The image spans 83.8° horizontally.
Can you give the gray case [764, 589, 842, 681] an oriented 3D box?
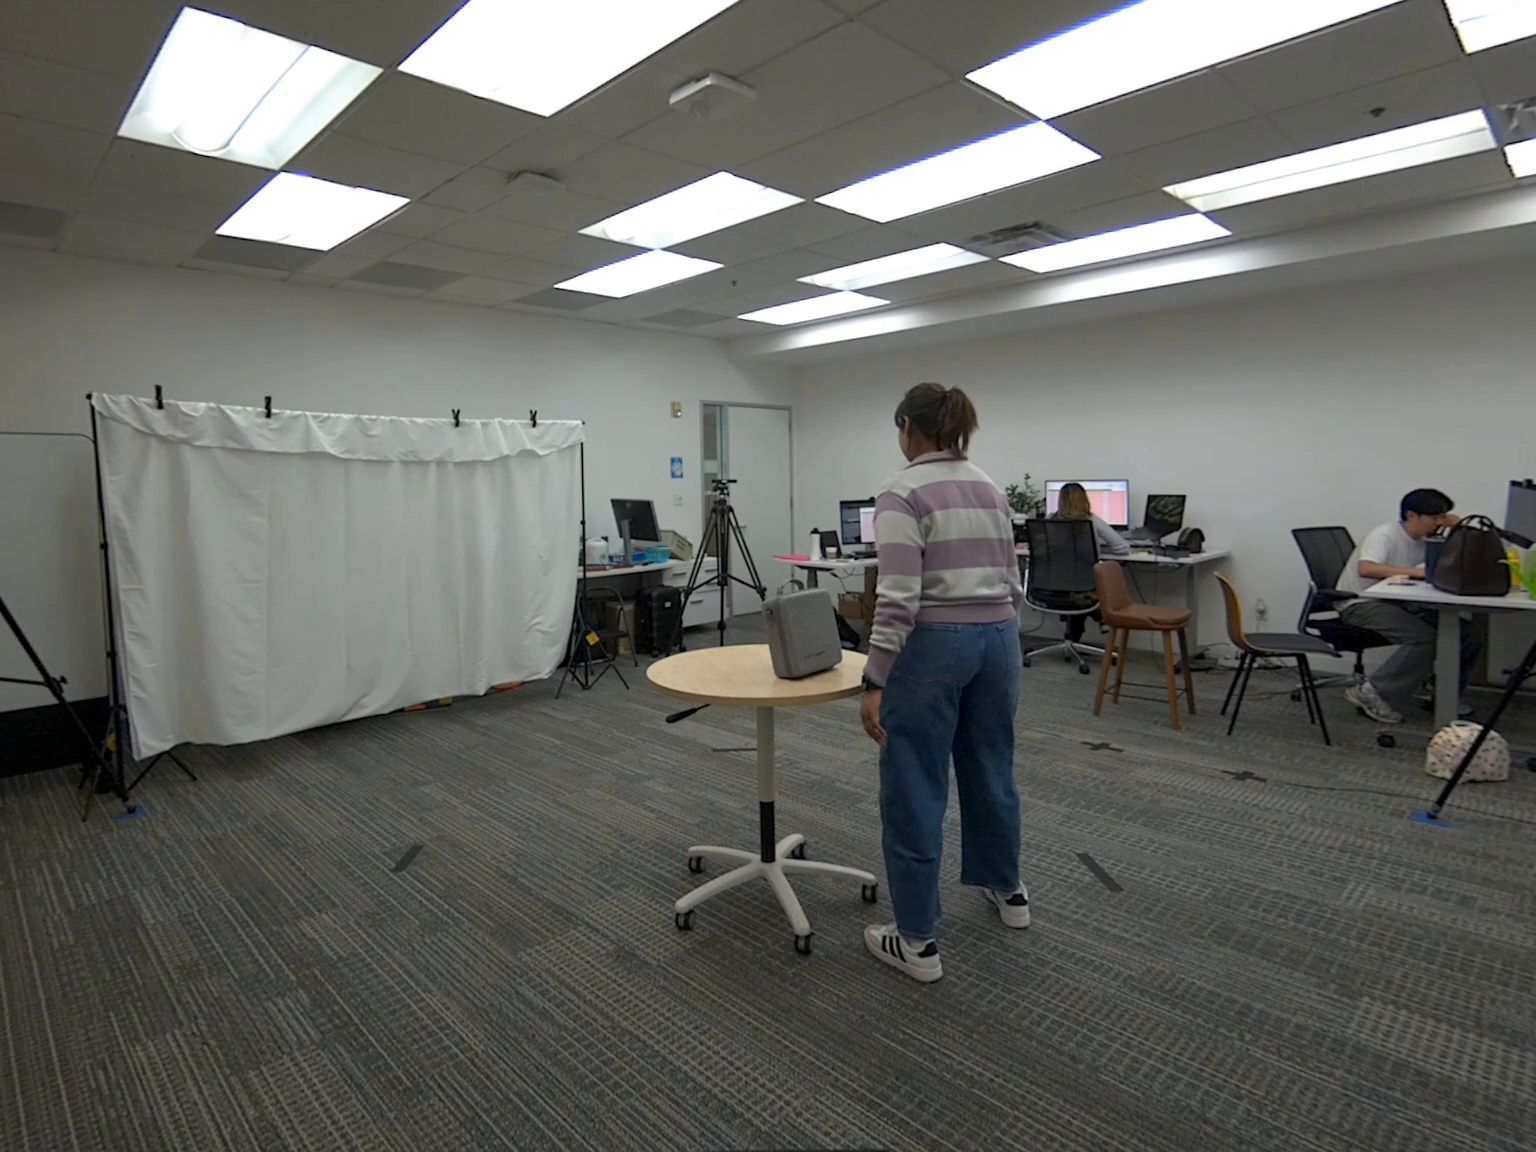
[{"bbox_3d":[0.113,0.173,2.691,0.106,0.262,0.250,-14,-6,40],"label":"gray case"}]
